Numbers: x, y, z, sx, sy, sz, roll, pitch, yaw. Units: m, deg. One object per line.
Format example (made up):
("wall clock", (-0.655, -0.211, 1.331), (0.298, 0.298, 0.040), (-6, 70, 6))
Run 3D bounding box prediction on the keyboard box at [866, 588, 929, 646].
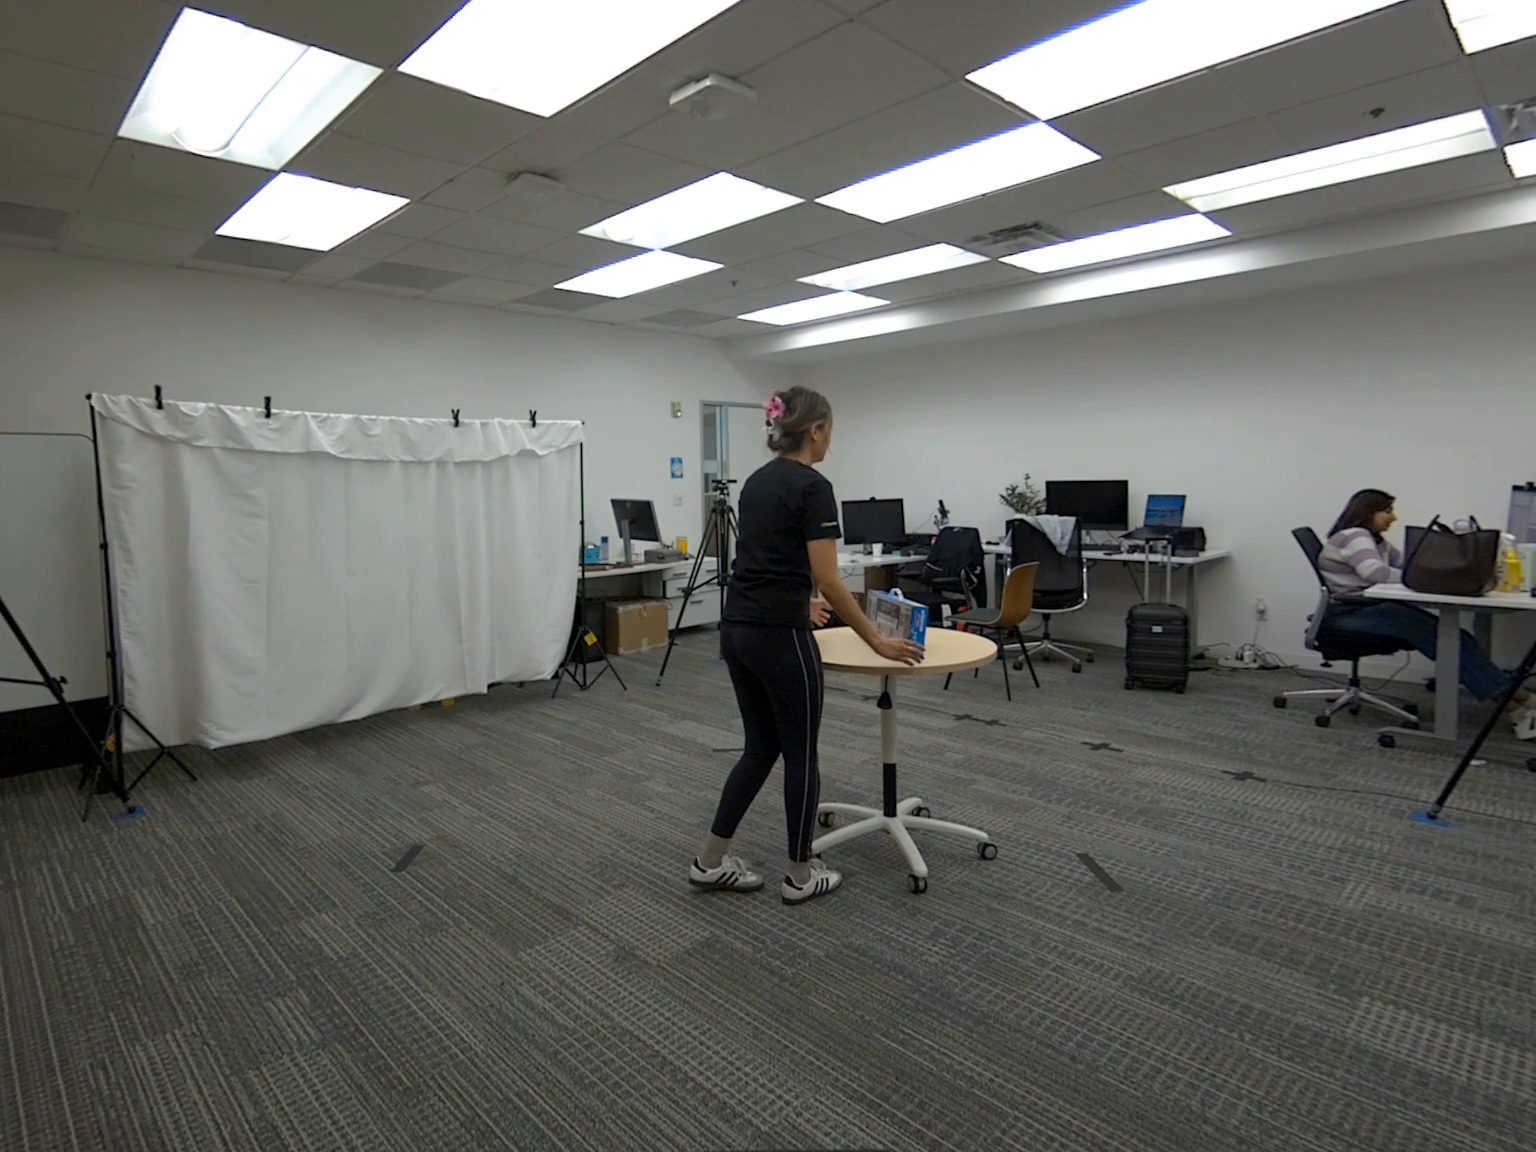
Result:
("keyboard box", (0.464, 0.164, 3.115), (0.058, 0.175, 0.444), (4, 4, -14))
